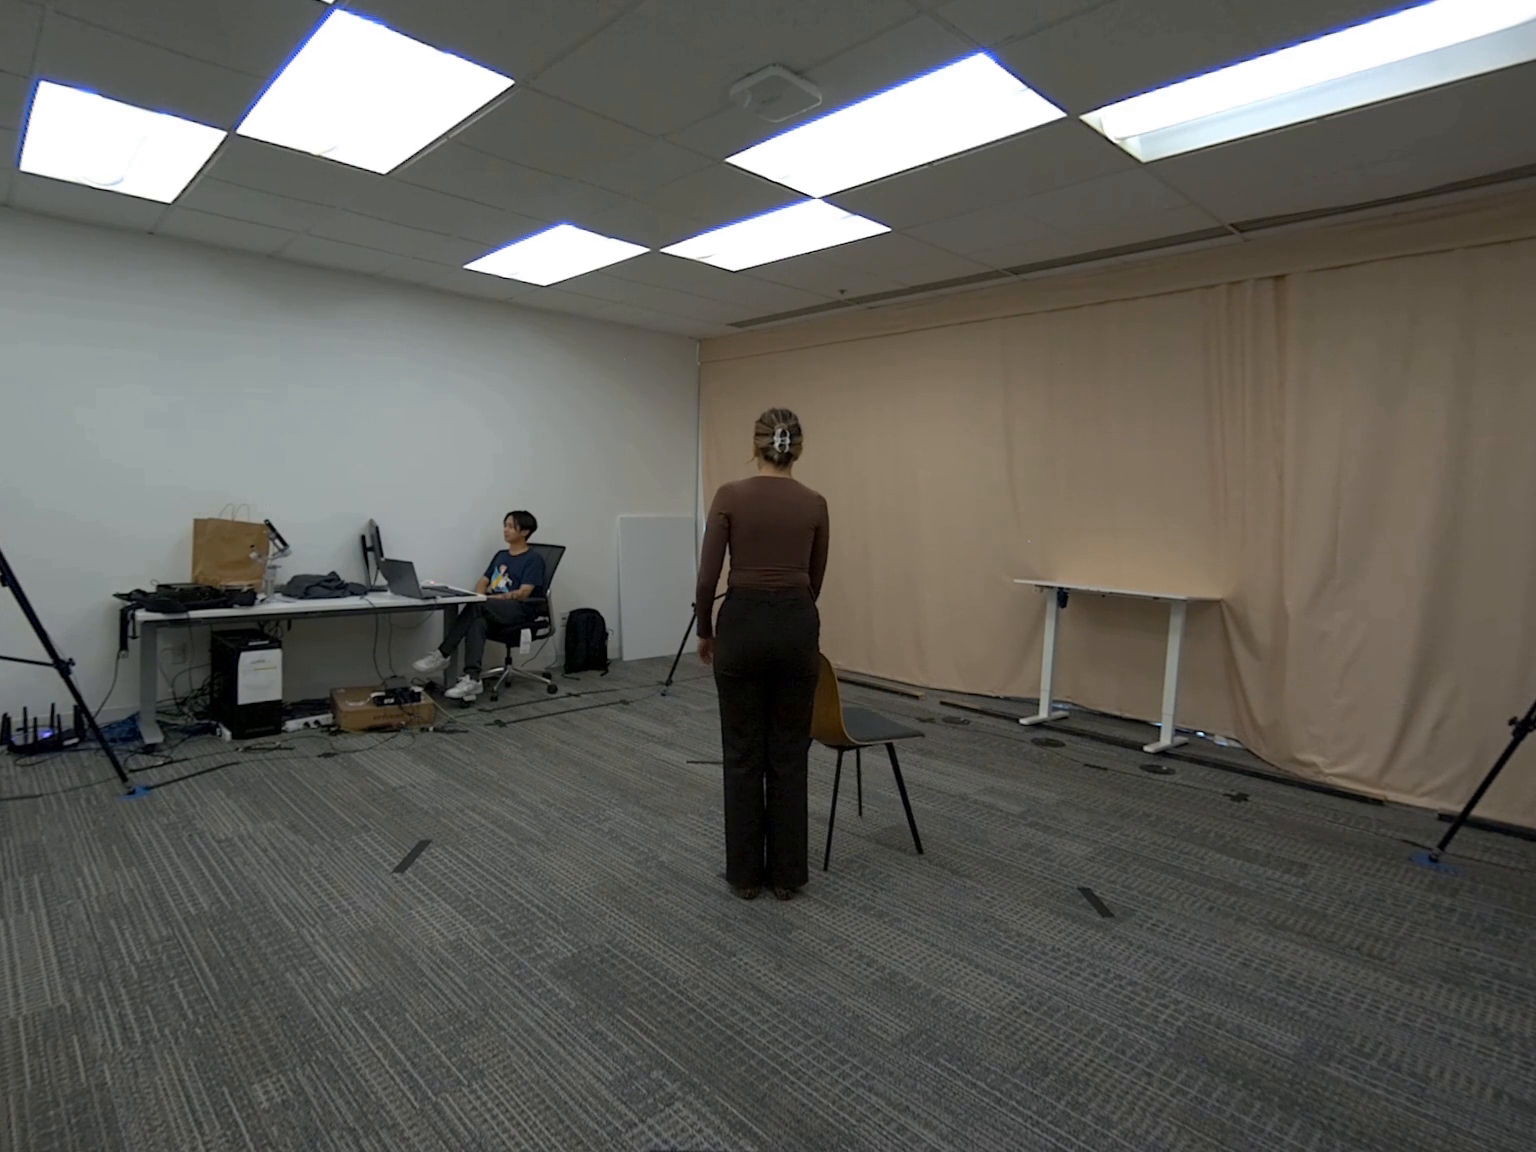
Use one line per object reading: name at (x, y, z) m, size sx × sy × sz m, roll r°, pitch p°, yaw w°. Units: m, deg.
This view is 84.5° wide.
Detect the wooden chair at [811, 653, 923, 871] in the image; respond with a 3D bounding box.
wooden chair at (0.324, 0.661, 3.422) m, size 0.514 × 0.874 × 0.488 m, roll -5°, pitch 5°, yaw -25°
